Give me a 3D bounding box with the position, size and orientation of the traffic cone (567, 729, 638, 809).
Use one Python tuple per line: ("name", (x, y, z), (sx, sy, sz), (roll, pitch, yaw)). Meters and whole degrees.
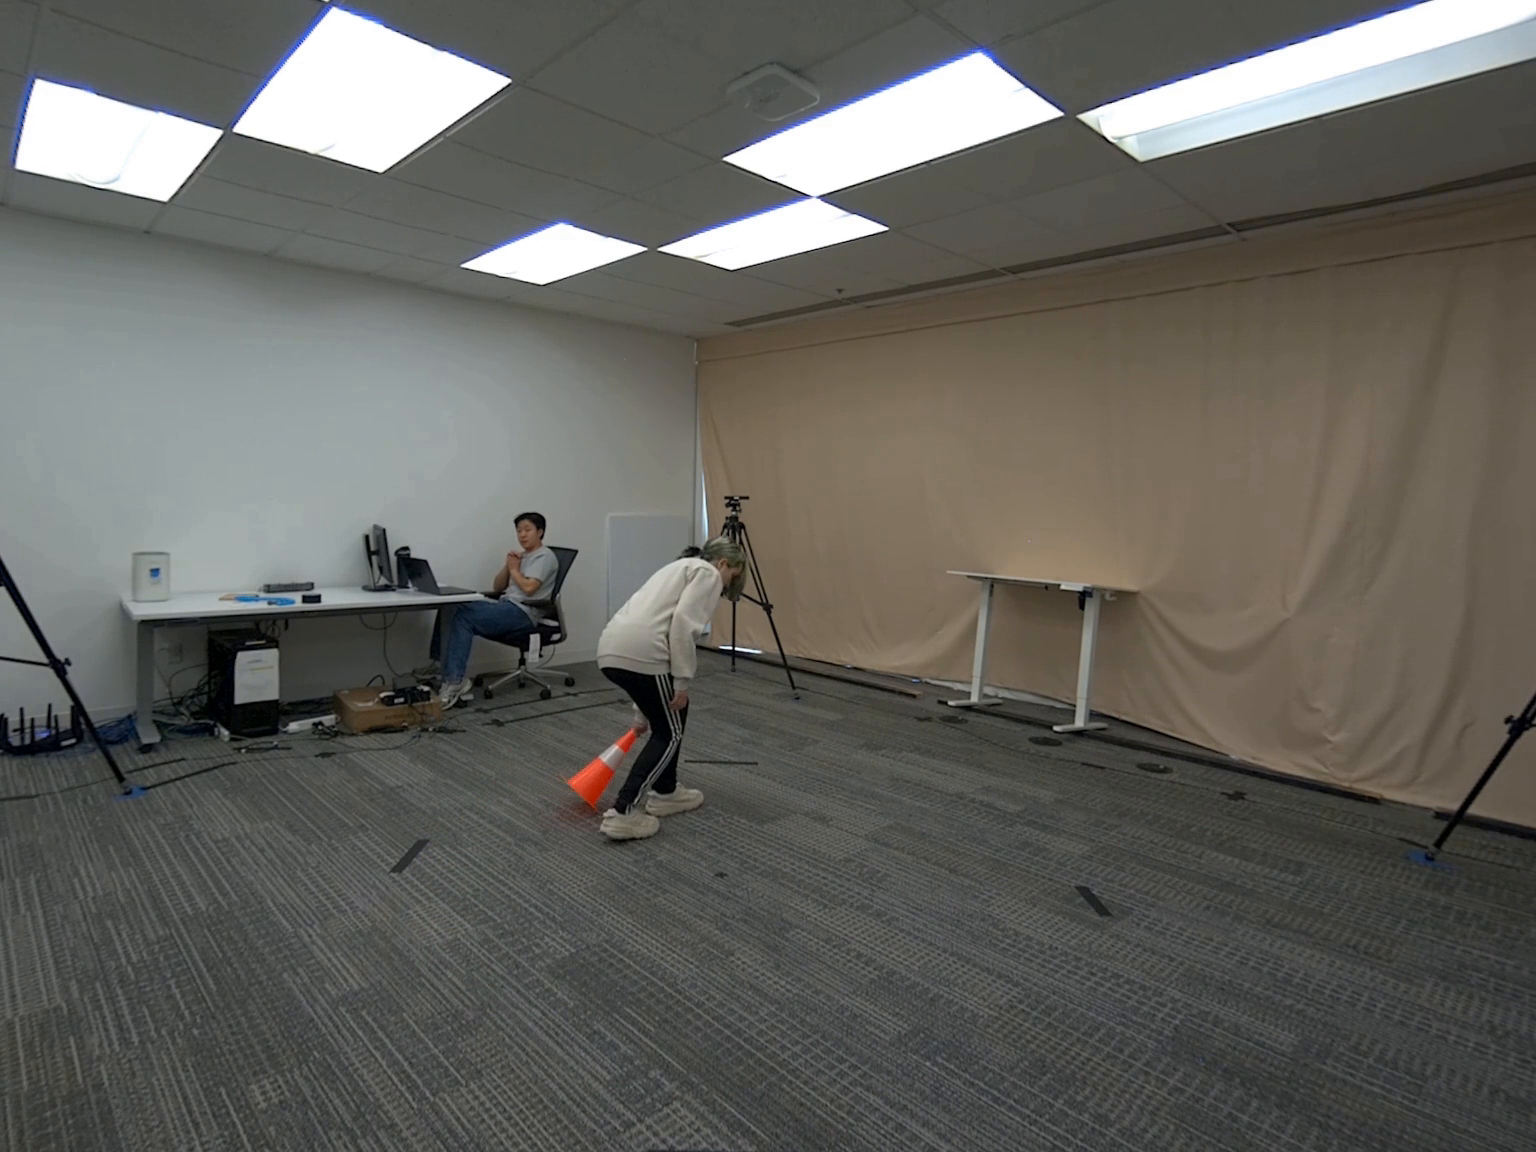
("traffic cone", (-0.716, 0.828, 3.771), (0.383, 0.200, 0.208), (-46, 16, -17))
